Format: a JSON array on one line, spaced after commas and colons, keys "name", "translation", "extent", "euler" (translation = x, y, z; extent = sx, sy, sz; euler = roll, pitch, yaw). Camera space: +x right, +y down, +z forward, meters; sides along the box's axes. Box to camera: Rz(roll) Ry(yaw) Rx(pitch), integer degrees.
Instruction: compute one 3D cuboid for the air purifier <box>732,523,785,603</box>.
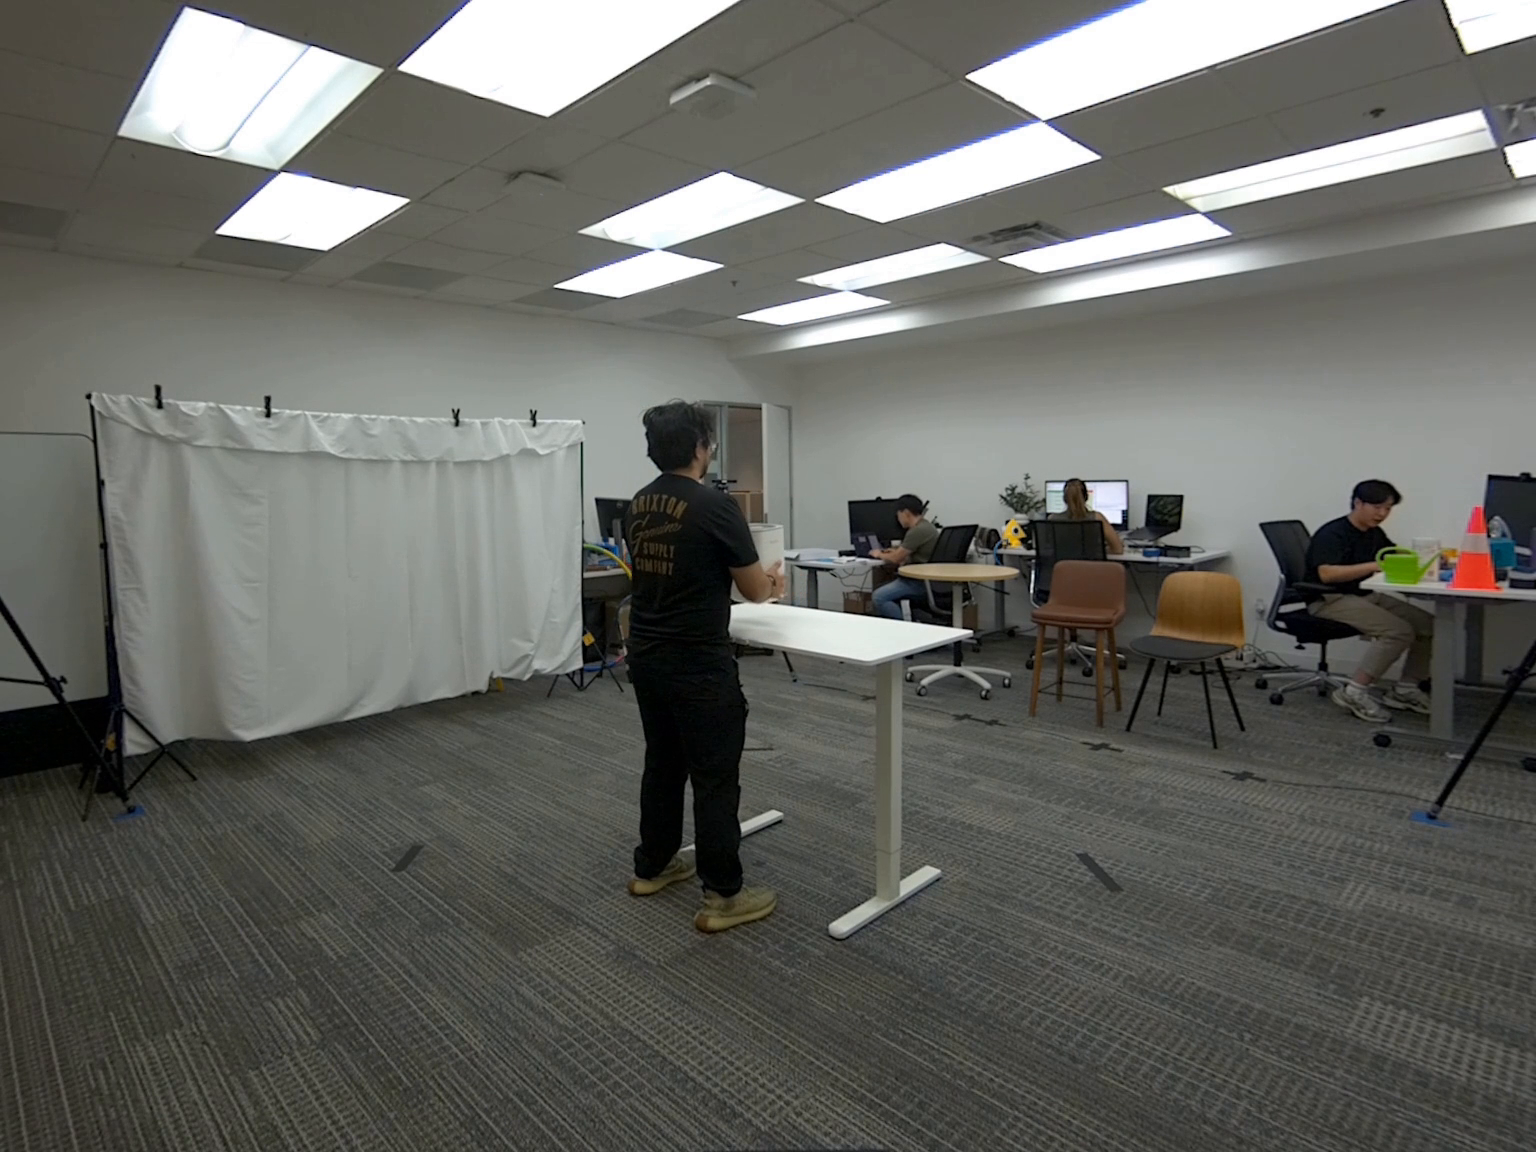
[{"name": "air purifier", "translation": [-0.035, -0.046, 3.046], "extent": [0.177, 0.263, 0.167], "euler": [7, 12, 39]}]
